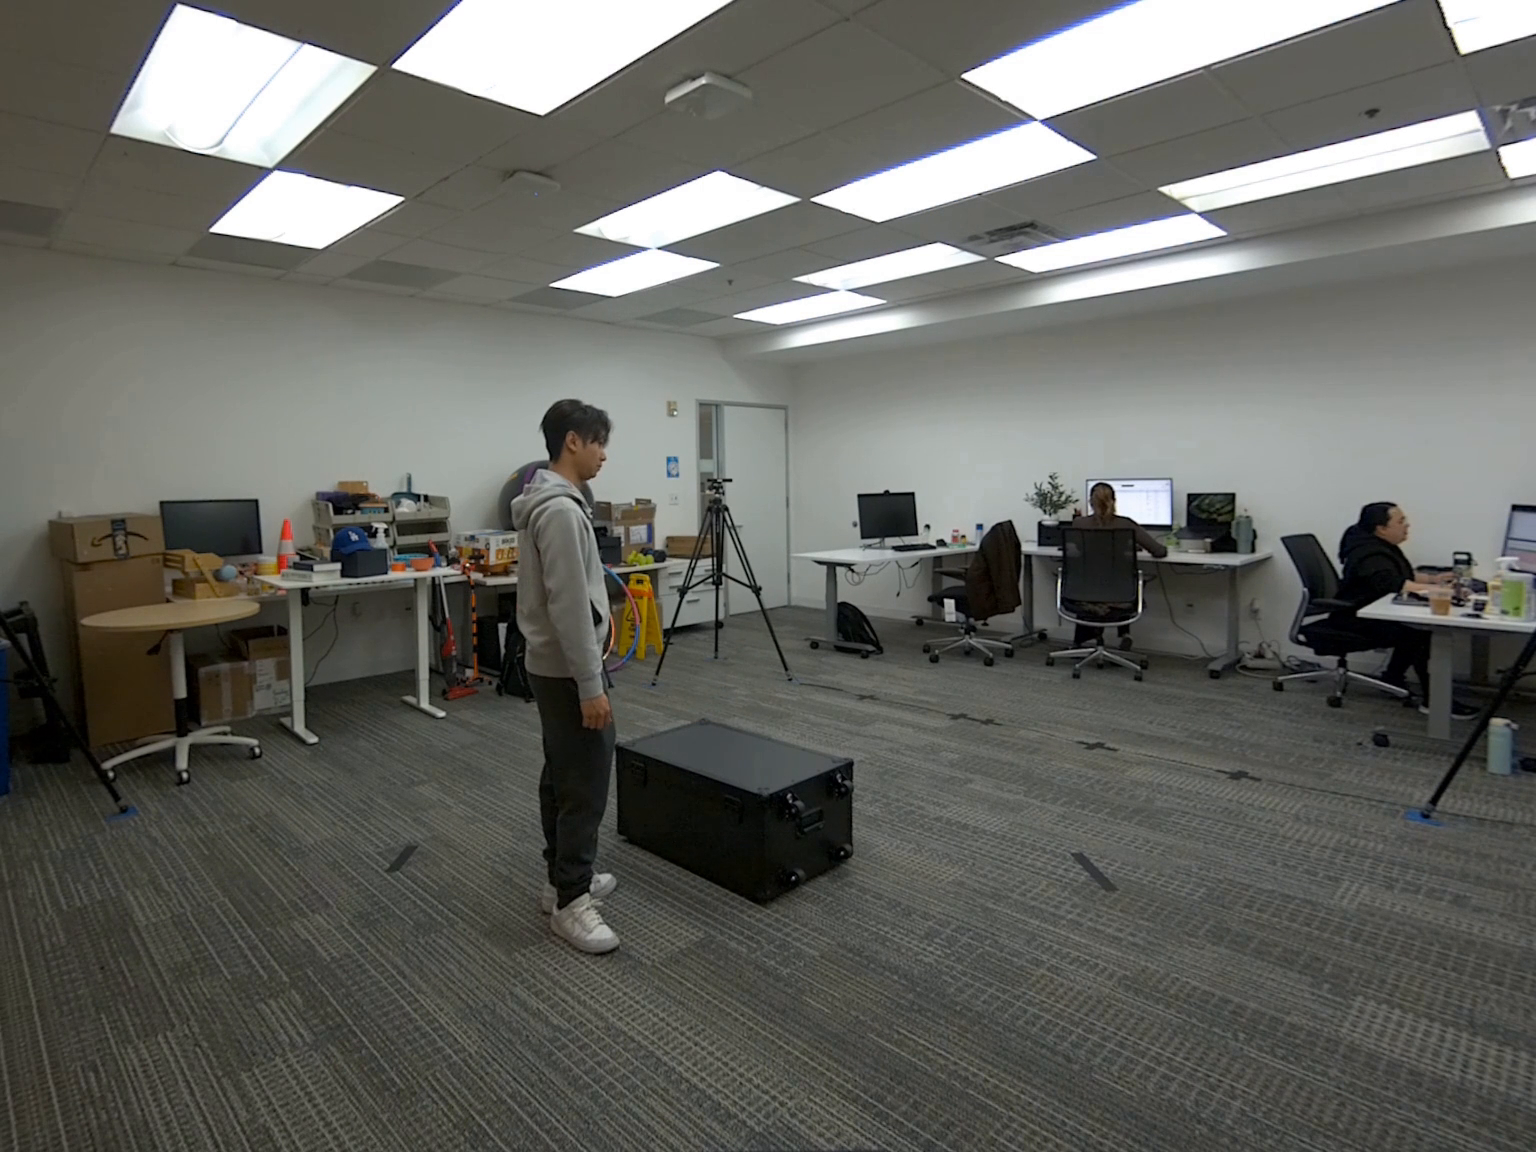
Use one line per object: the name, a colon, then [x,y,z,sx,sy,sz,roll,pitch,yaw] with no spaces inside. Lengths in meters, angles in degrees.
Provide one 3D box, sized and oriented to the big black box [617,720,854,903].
big black box: [-0.116,0.847,3.188,0.888,0.395,0.508,4,7,43]
